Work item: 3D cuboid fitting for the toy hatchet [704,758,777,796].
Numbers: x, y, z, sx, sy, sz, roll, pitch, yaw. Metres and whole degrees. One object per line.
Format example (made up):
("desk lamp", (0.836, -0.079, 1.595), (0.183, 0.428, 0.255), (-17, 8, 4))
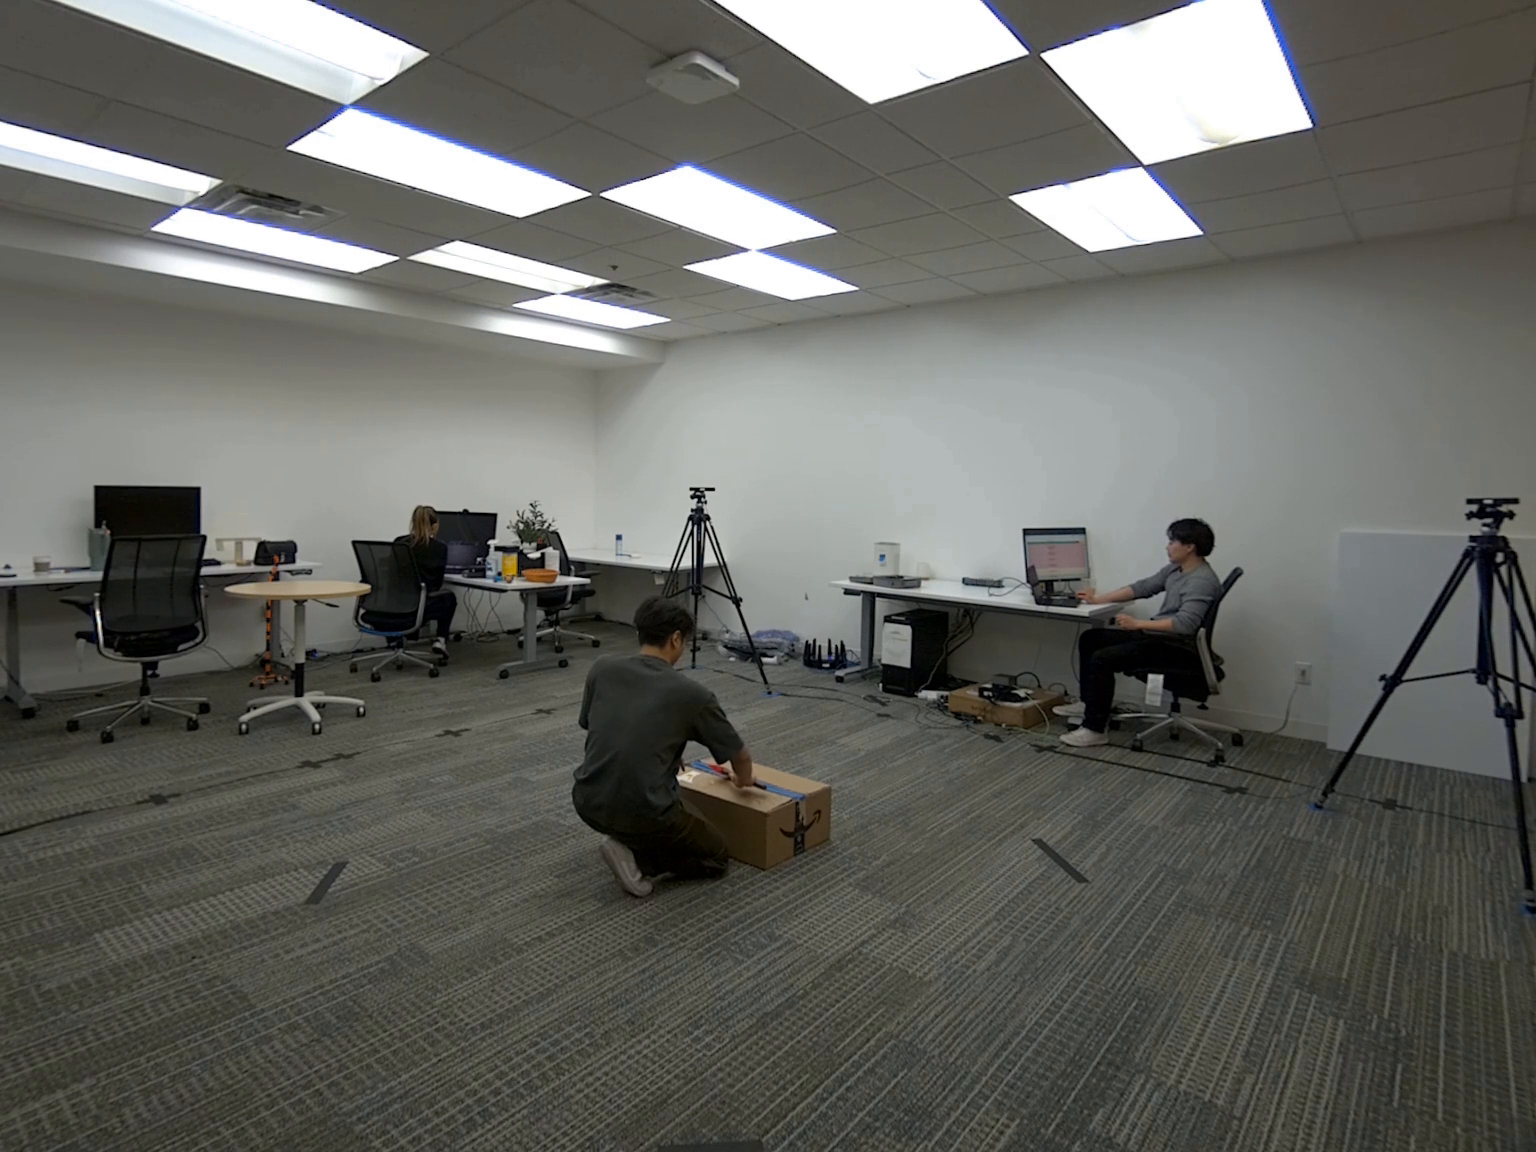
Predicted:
("toy hatchet", (-0.114, 0.799, 3.356), (0.280, 0.030, 0.125), (13, -16, 36))
